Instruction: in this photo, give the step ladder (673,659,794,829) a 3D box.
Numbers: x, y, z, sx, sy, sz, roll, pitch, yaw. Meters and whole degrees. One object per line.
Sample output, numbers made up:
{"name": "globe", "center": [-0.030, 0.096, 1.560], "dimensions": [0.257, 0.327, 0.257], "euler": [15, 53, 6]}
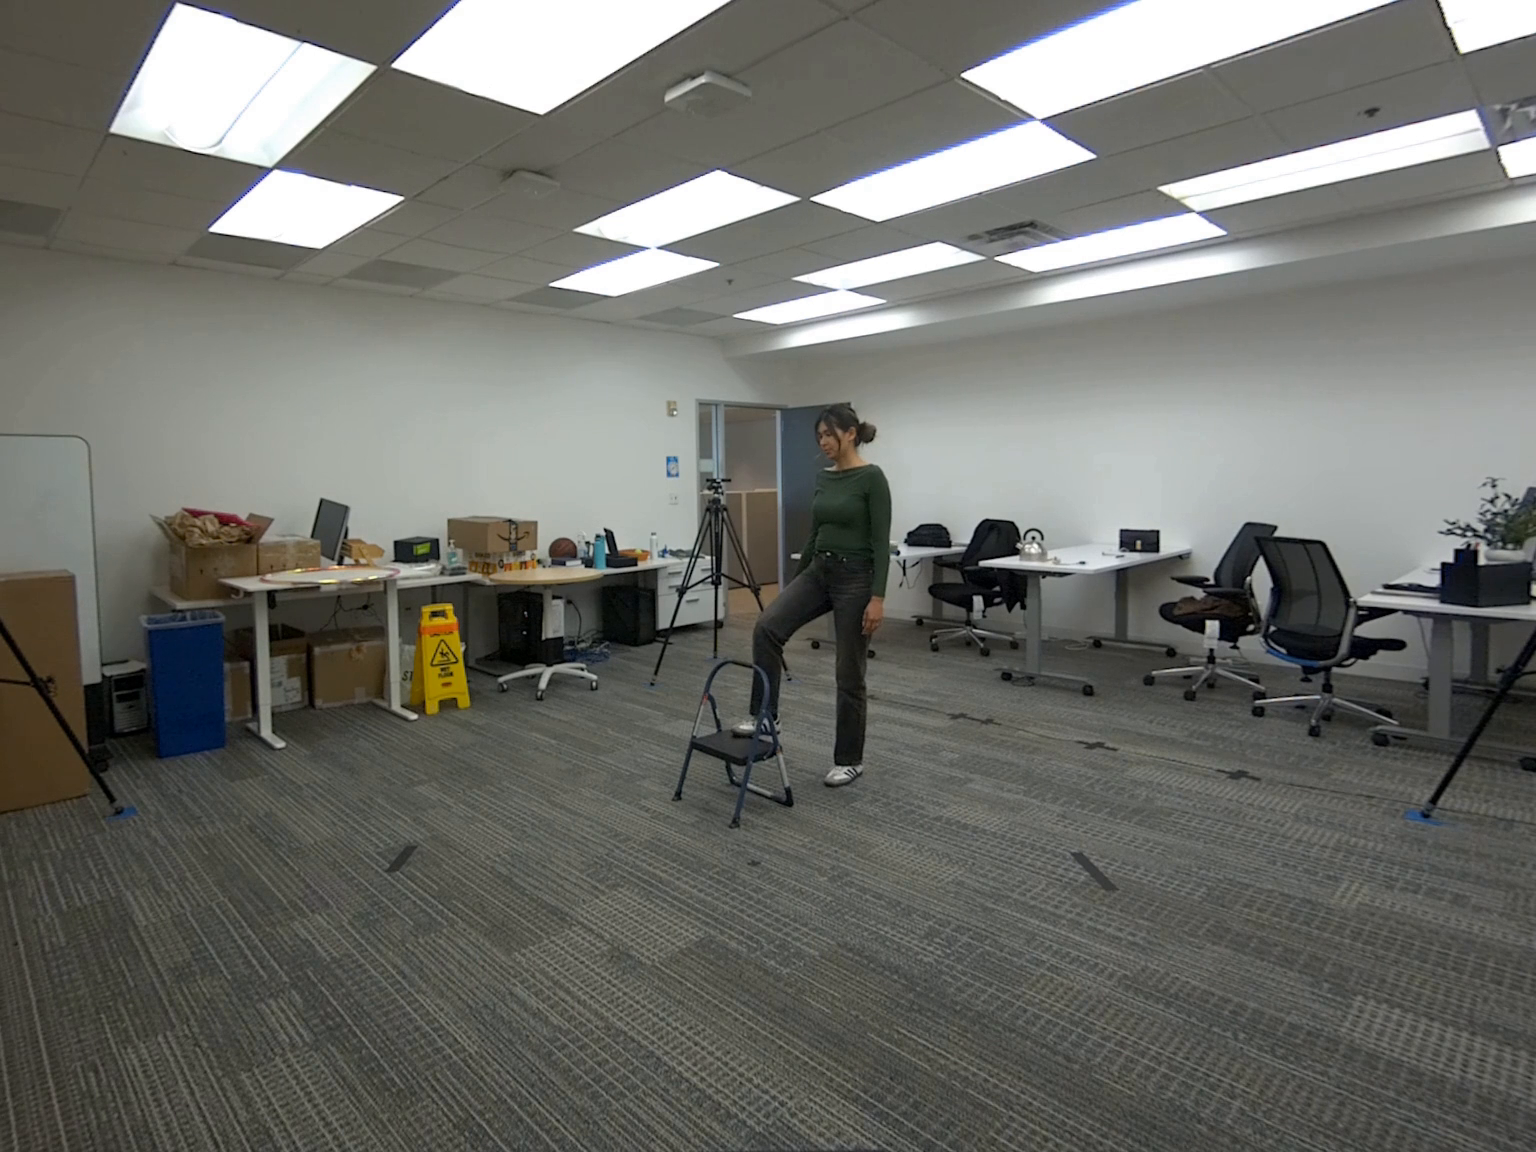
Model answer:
{"name": "step ladder", "center": [-0.156, 0.678, 3.670], "dimensions": [0.340, 0.604, 0.444], "euler": [-4, 5, -41]}
